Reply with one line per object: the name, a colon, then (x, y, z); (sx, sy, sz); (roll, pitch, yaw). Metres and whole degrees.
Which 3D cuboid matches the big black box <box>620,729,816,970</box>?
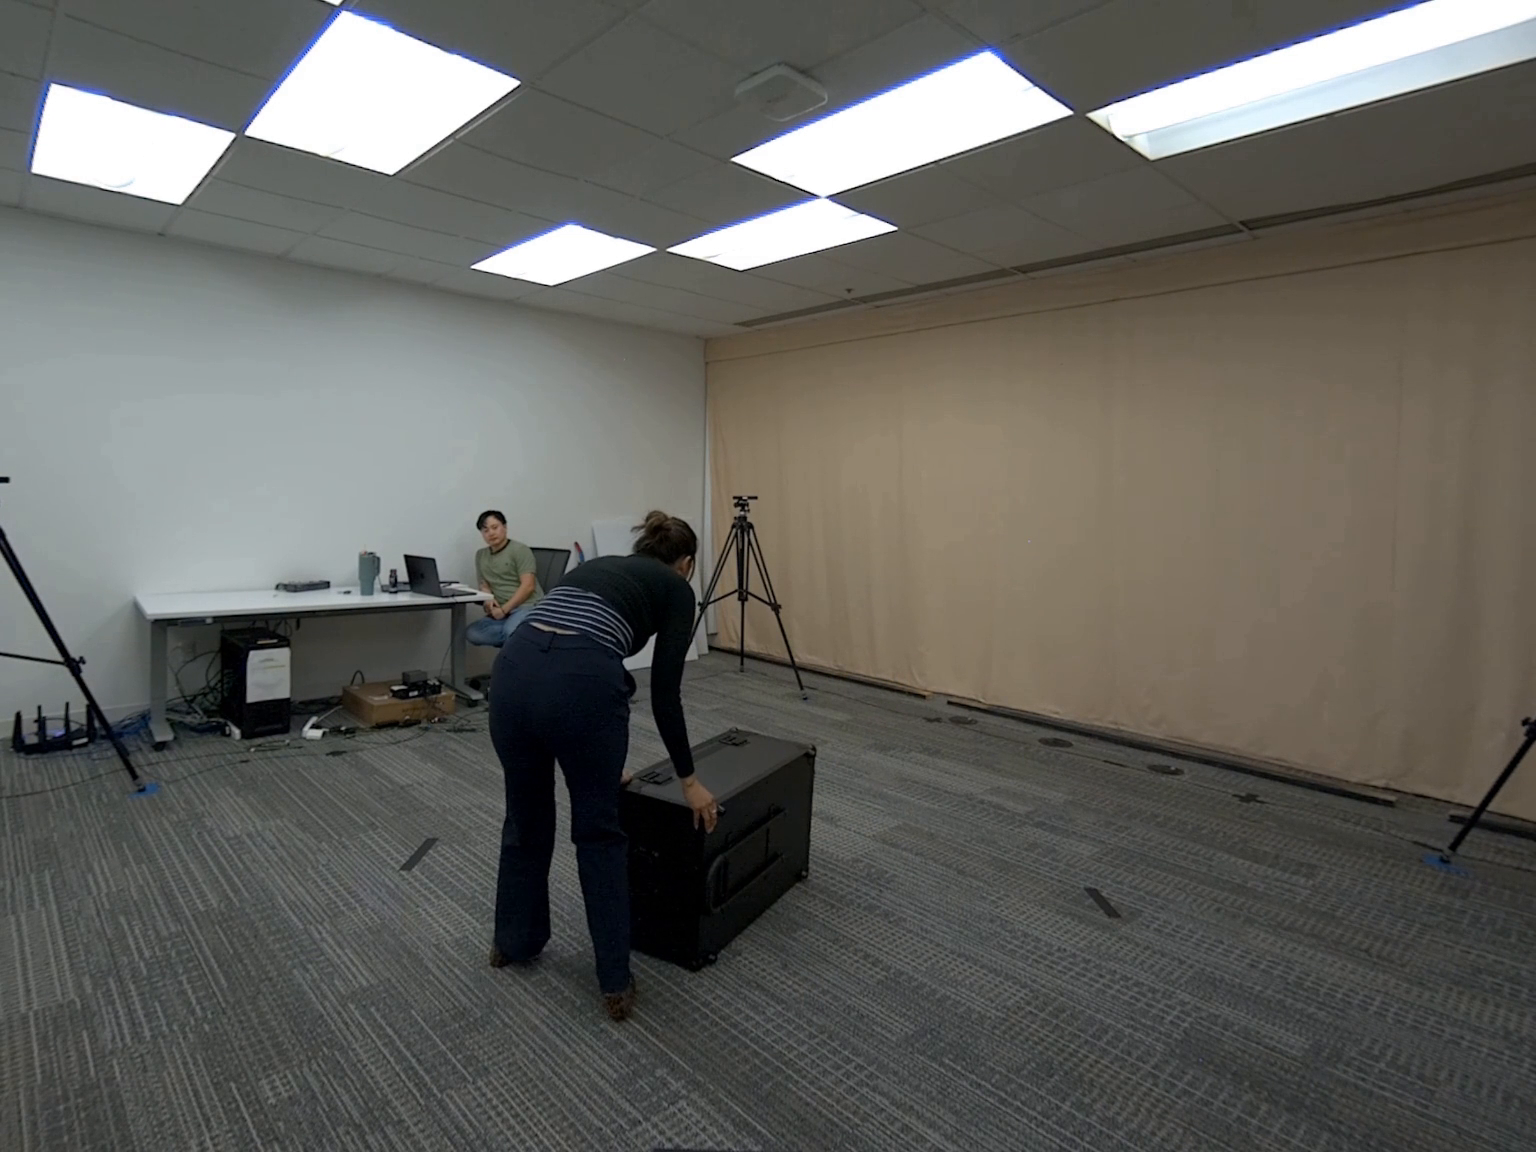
big black box: (-0.148, 0.868, 2.877); (0.405, 0.519, 0.846); (5, 6, 27)
